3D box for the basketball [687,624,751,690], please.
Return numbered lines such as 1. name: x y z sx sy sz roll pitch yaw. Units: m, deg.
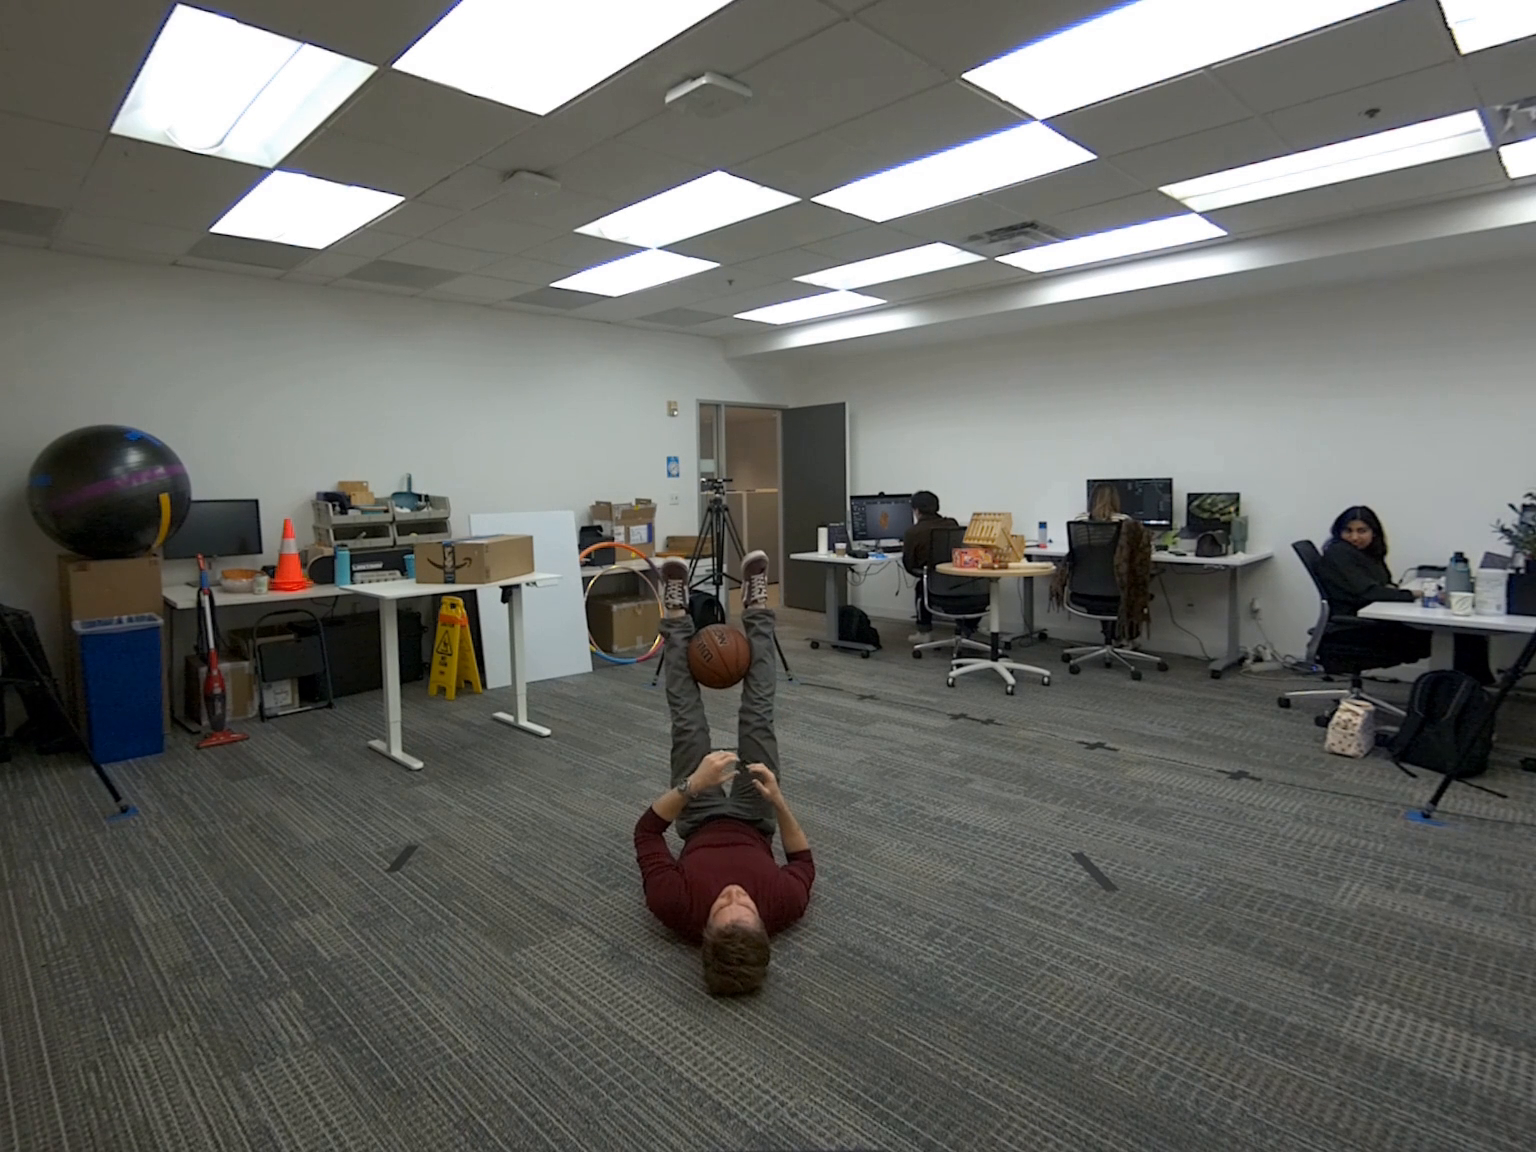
1. basketball: -0.174 0.298 3.159 0.236 0.235 0.237 -1 5 -2
